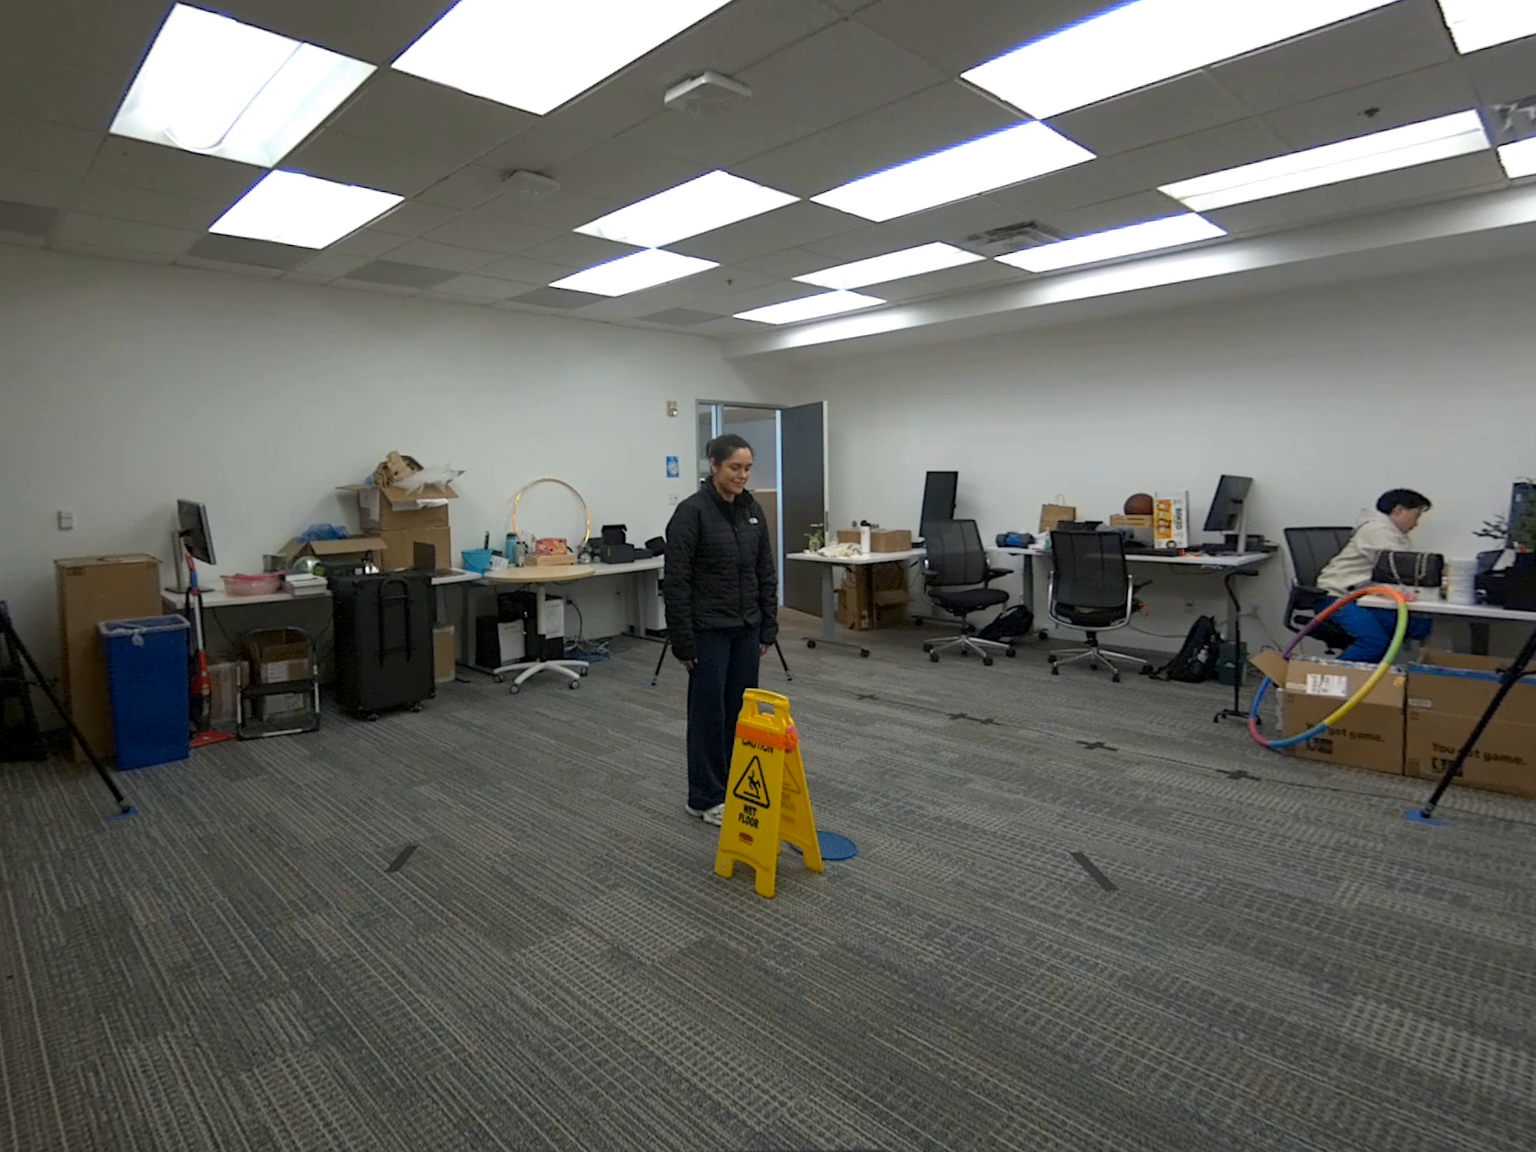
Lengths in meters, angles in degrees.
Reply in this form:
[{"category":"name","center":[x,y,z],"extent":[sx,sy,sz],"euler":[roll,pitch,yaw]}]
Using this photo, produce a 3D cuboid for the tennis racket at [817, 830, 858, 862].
[{"category":"tennis racket","center":[0.140,1.009,3.294],"extent":[0.446,0.031,0.208],"euler":[6,8,34]}]
